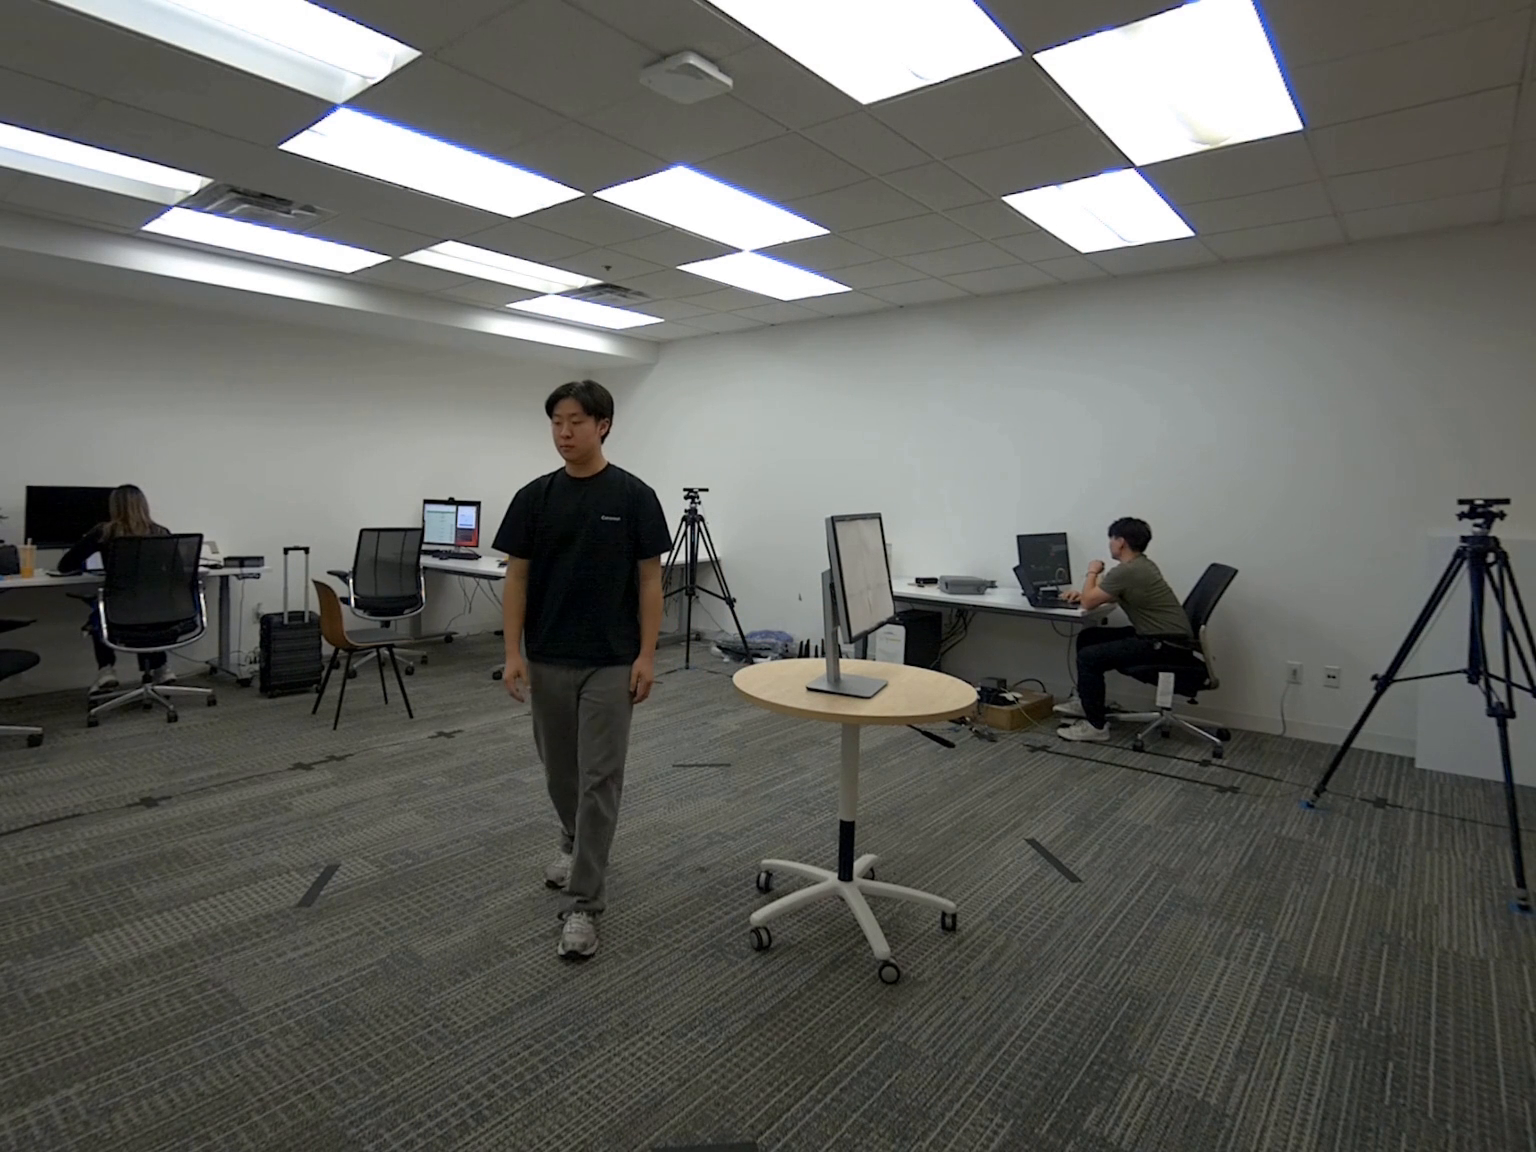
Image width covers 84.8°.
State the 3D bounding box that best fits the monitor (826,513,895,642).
[{"bbox_3d":[0.258,0.088,2.641,0.228,0.563,0.549,7,6,24],"label":"monitor"}]
